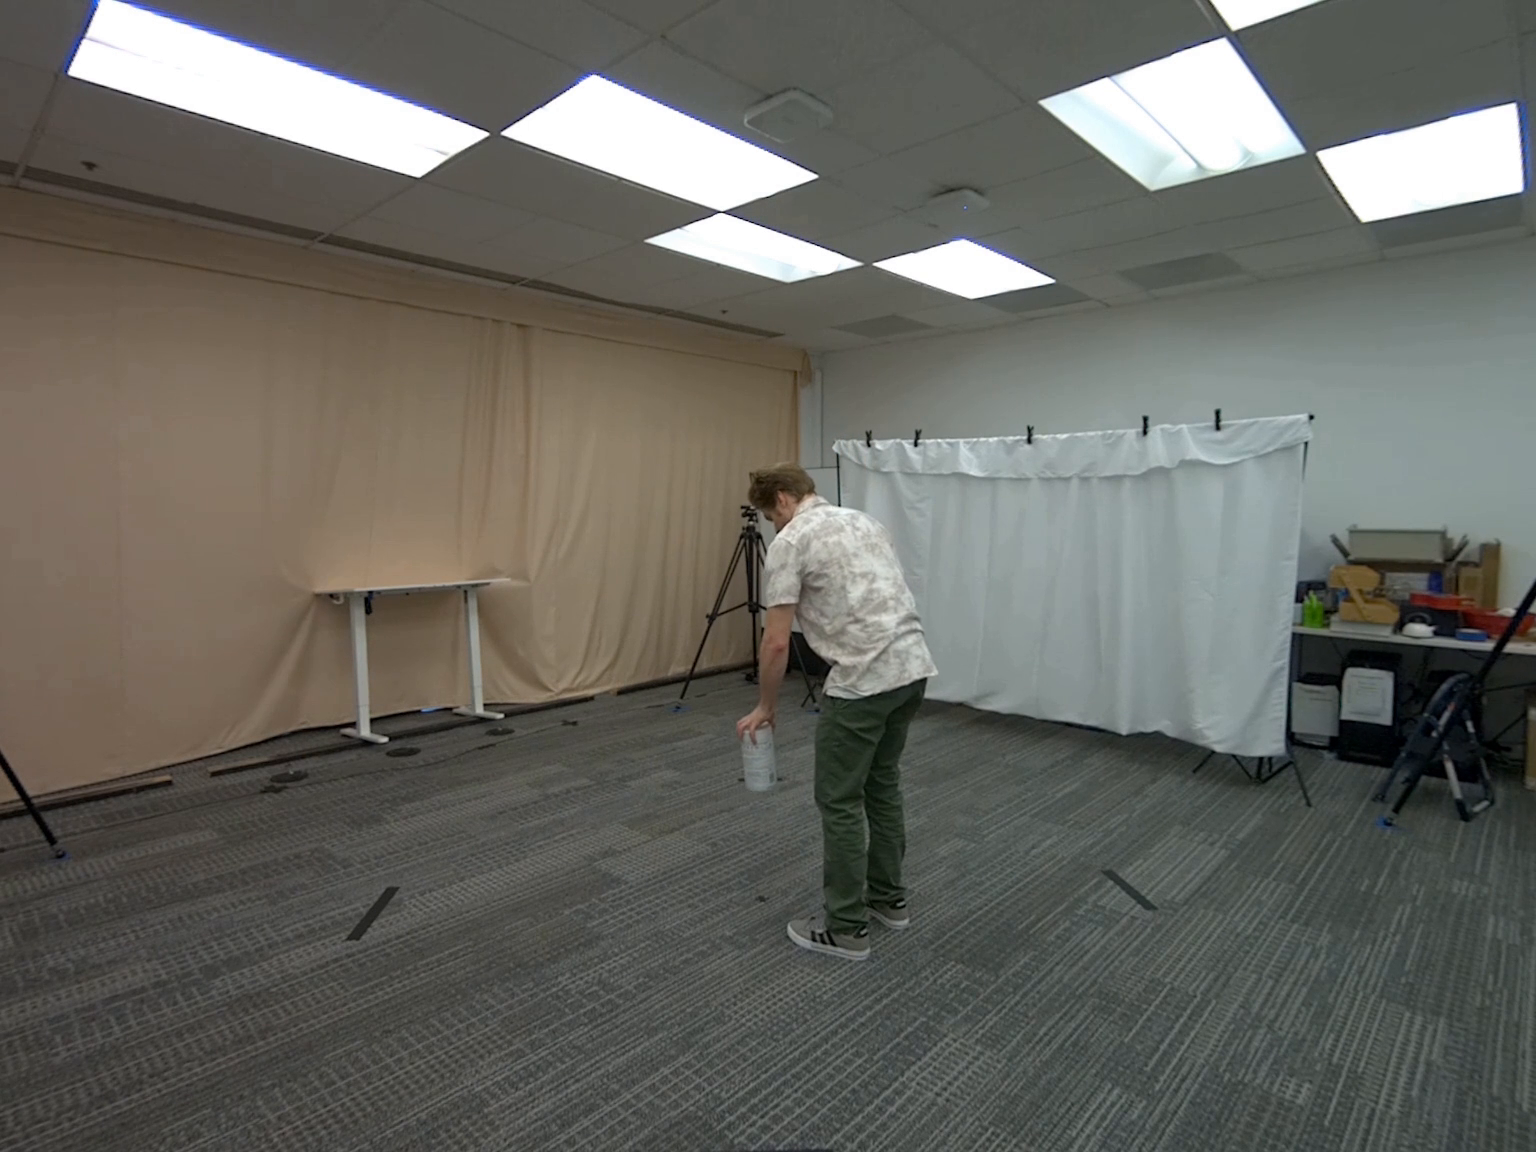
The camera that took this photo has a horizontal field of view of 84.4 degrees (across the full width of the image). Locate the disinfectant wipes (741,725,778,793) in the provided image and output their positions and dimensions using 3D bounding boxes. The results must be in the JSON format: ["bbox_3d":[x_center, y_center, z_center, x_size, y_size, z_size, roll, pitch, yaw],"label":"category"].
[{"bbox_3d":[-0.021,0.623,2.870,0.118,0.217,0.118,-6,5,-1],"label":"disinfectant wipes"}]
